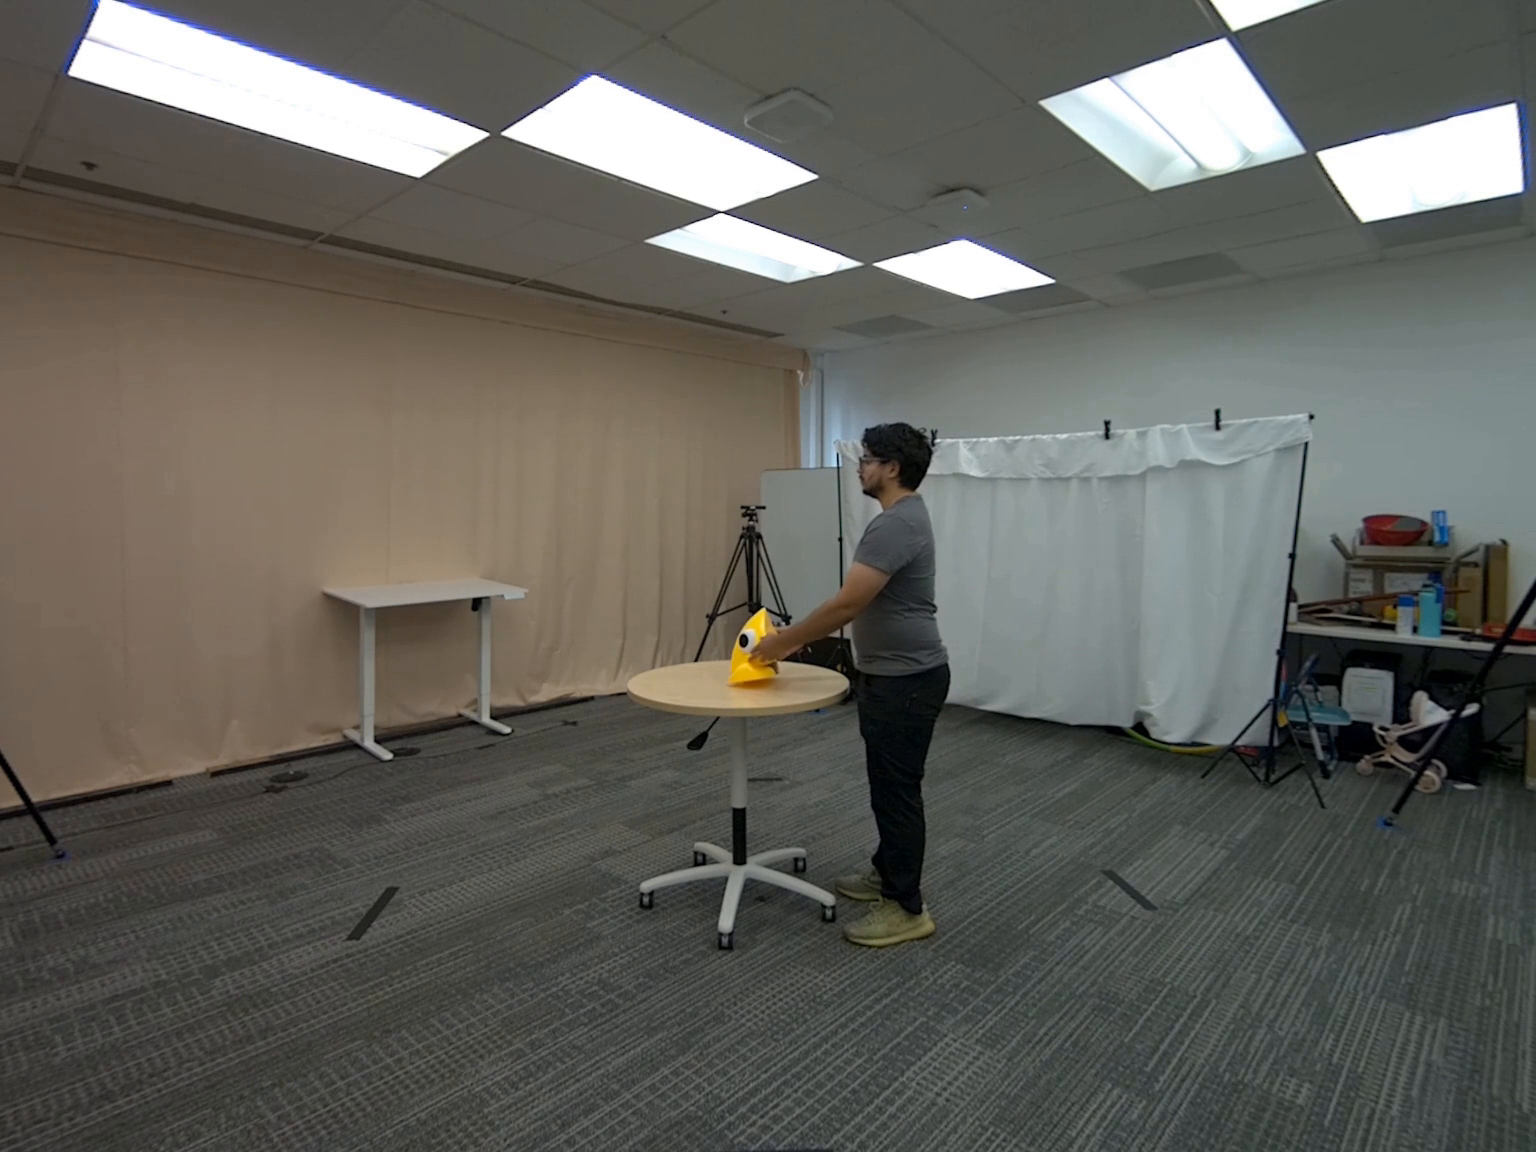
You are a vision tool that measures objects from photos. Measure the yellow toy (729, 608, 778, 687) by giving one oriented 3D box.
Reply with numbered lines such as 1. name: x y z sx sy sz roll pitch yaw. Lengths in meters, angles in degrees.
1. yellow toy: -0.048 0.231 2.888 0.196 0.231 0.201 -9 -3 17
